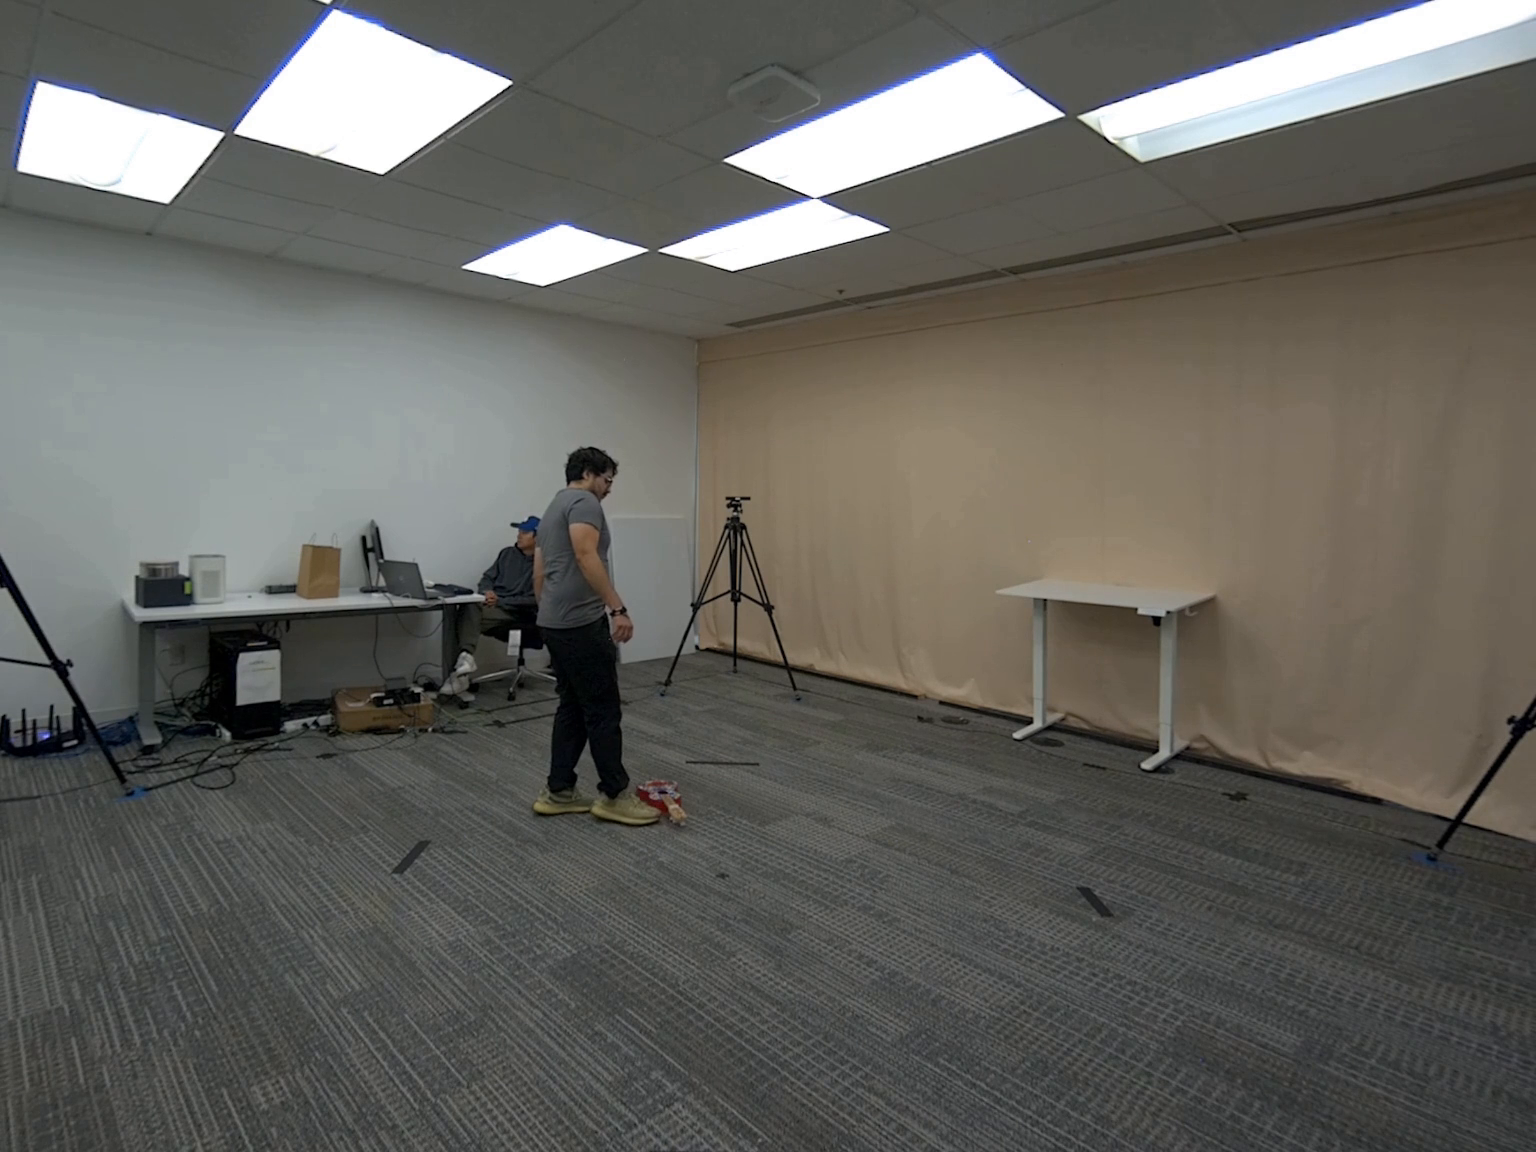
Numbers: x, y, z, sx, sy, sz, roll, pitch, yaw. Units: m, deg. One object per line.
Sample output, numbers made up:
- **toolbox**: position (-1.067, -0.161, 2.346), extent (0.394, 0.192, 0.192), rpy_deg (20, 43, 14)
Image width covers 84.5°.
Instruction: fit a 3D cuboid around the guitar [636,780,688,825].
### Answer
- **guitar**: position (-0.489, 1.010, 3.731), extent (0.191, 0.070, 0.503), rpy_deg (1, 5, -11)
